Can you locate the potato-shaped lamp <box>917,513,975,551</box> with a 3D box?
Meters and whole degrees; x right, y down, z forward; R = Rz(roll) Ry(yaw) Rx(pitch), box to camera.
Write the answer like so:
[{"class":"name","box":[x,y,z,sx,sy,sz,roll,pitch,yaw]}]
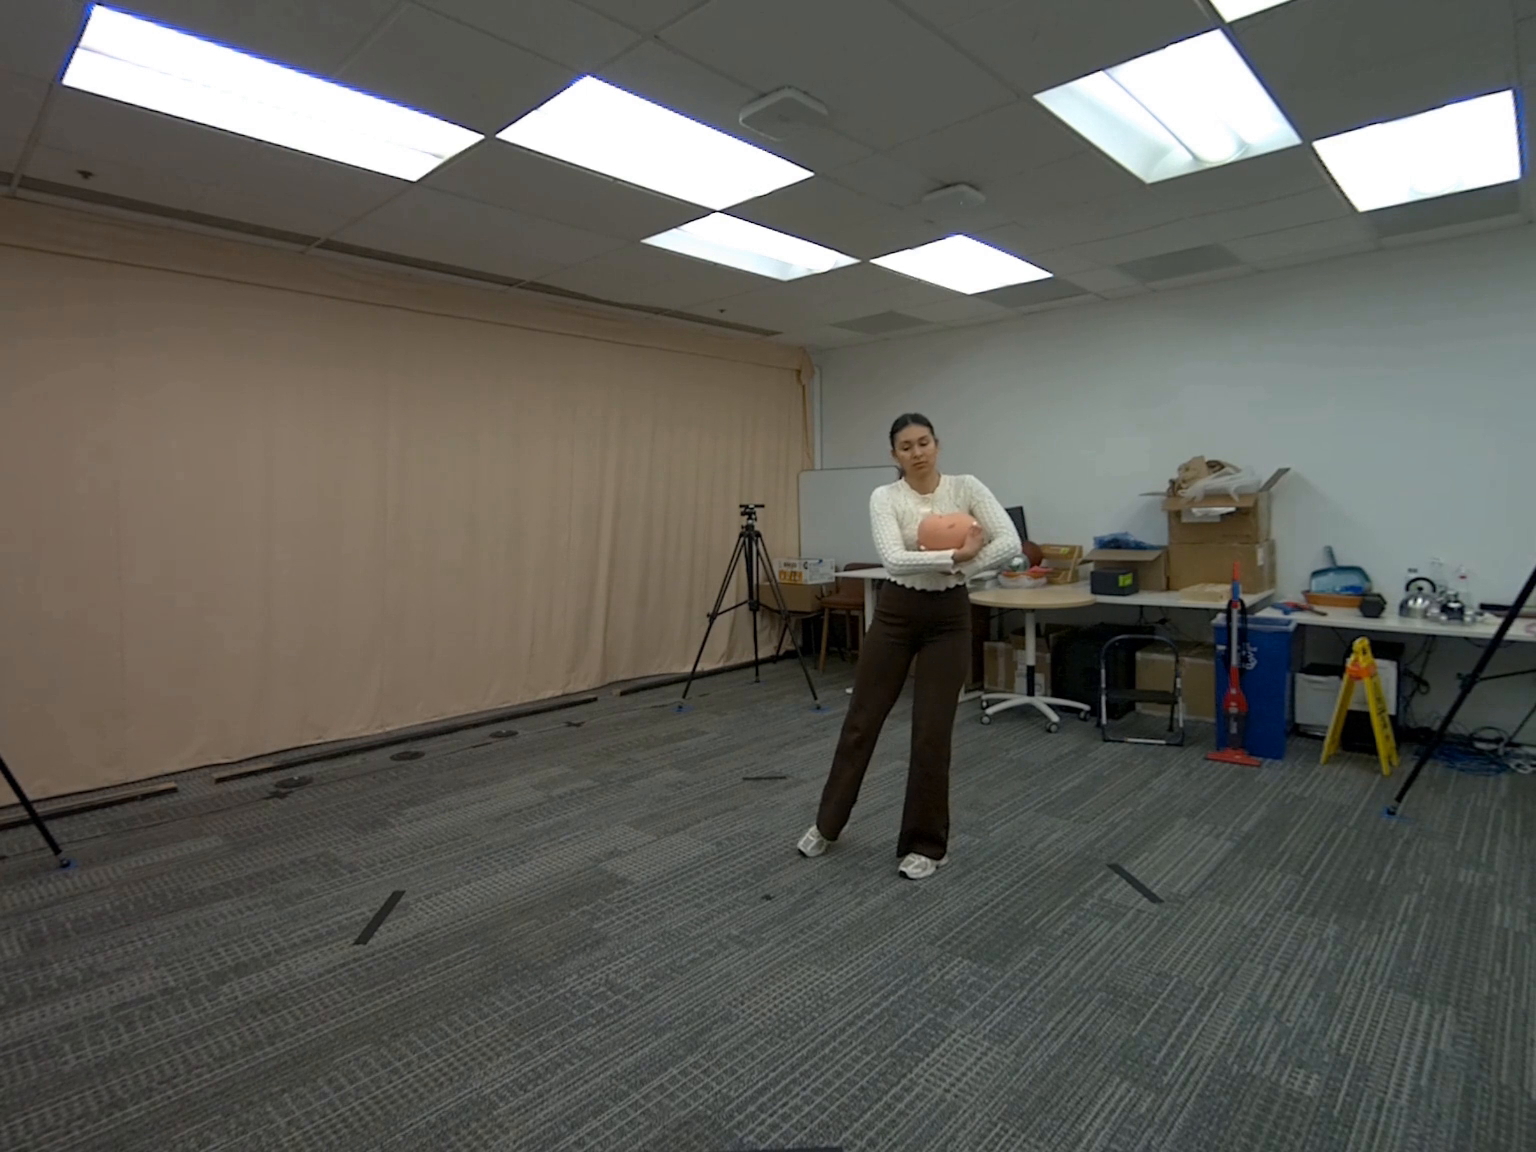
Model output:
[{"class":"potato-shaped lamp","box":[0.637,-0.143,2.951,0.198,0.170,0.166,15,19,-3]}]
